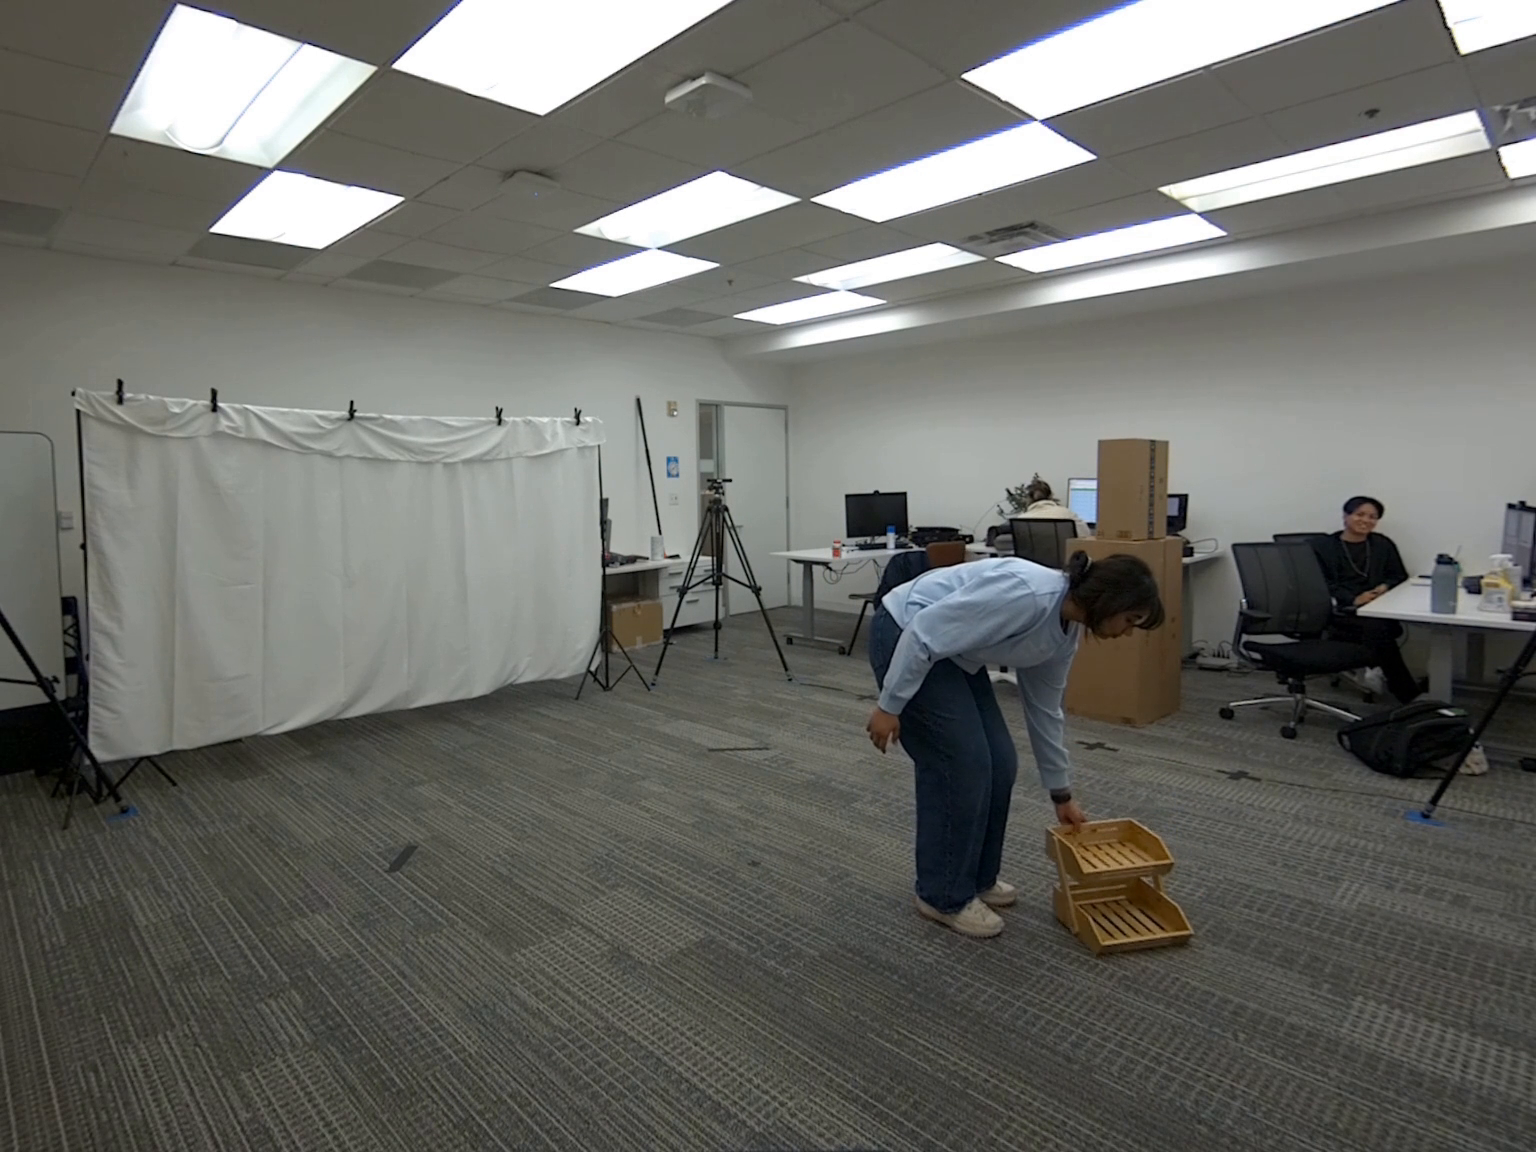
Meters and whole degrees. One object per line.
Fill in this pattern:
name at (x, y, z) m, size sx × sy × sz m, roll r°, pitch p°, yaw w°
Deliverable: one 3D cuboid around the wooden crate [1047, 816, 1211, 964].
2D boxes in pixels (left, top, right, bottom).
wooden crate at (1.080, 0.936, 2.596) m, size 0.321 × 0.272 × 0.307 m, roll -2°, pitch 7°, yaw -12°
